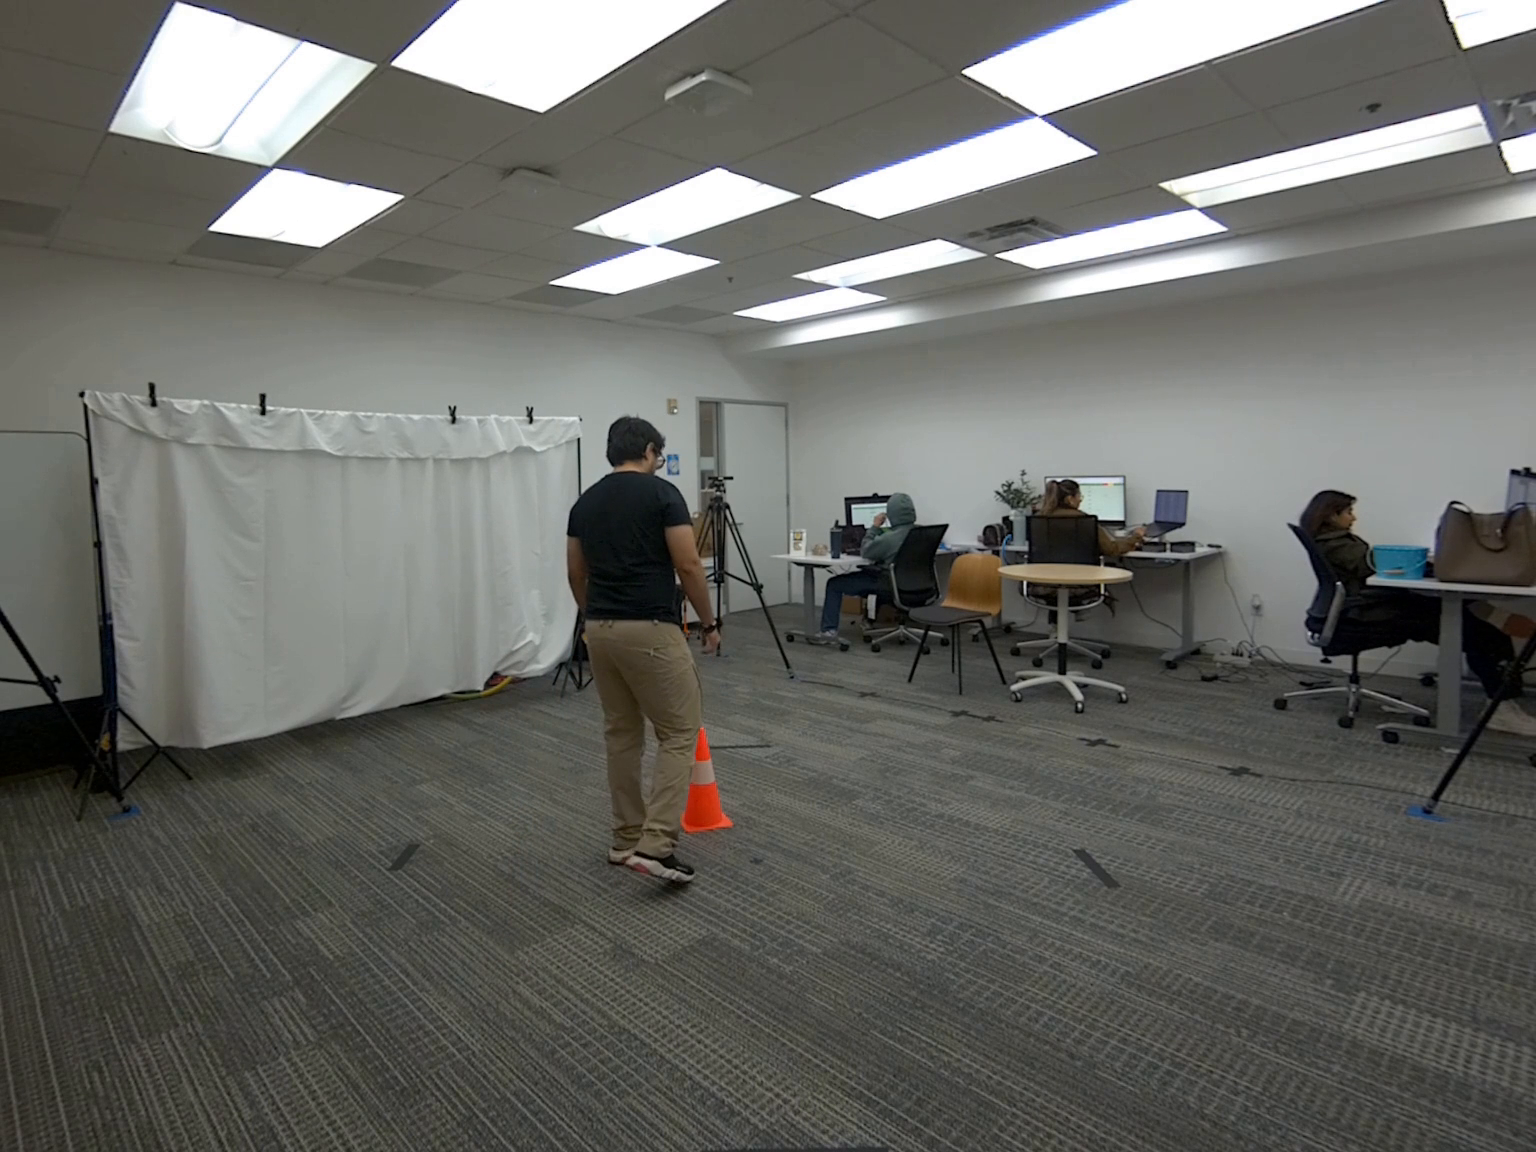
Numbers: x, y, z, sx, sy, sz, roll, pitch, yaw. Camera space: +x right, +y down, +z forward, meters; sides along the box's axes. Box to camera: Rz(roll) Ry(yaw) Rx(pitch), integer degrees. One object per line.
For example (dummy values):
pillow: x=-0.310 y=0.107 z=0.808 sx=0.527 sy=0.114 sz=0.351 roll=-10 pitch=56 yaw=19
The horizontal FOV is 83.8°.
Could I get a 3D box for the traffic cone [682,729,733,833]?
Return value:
traffic cone: x=-0.272 y=0.812 z=3.478 sx=0.201 sy=0.382 sz=0.208 roll=-5 pitch=6 yaw=-24
